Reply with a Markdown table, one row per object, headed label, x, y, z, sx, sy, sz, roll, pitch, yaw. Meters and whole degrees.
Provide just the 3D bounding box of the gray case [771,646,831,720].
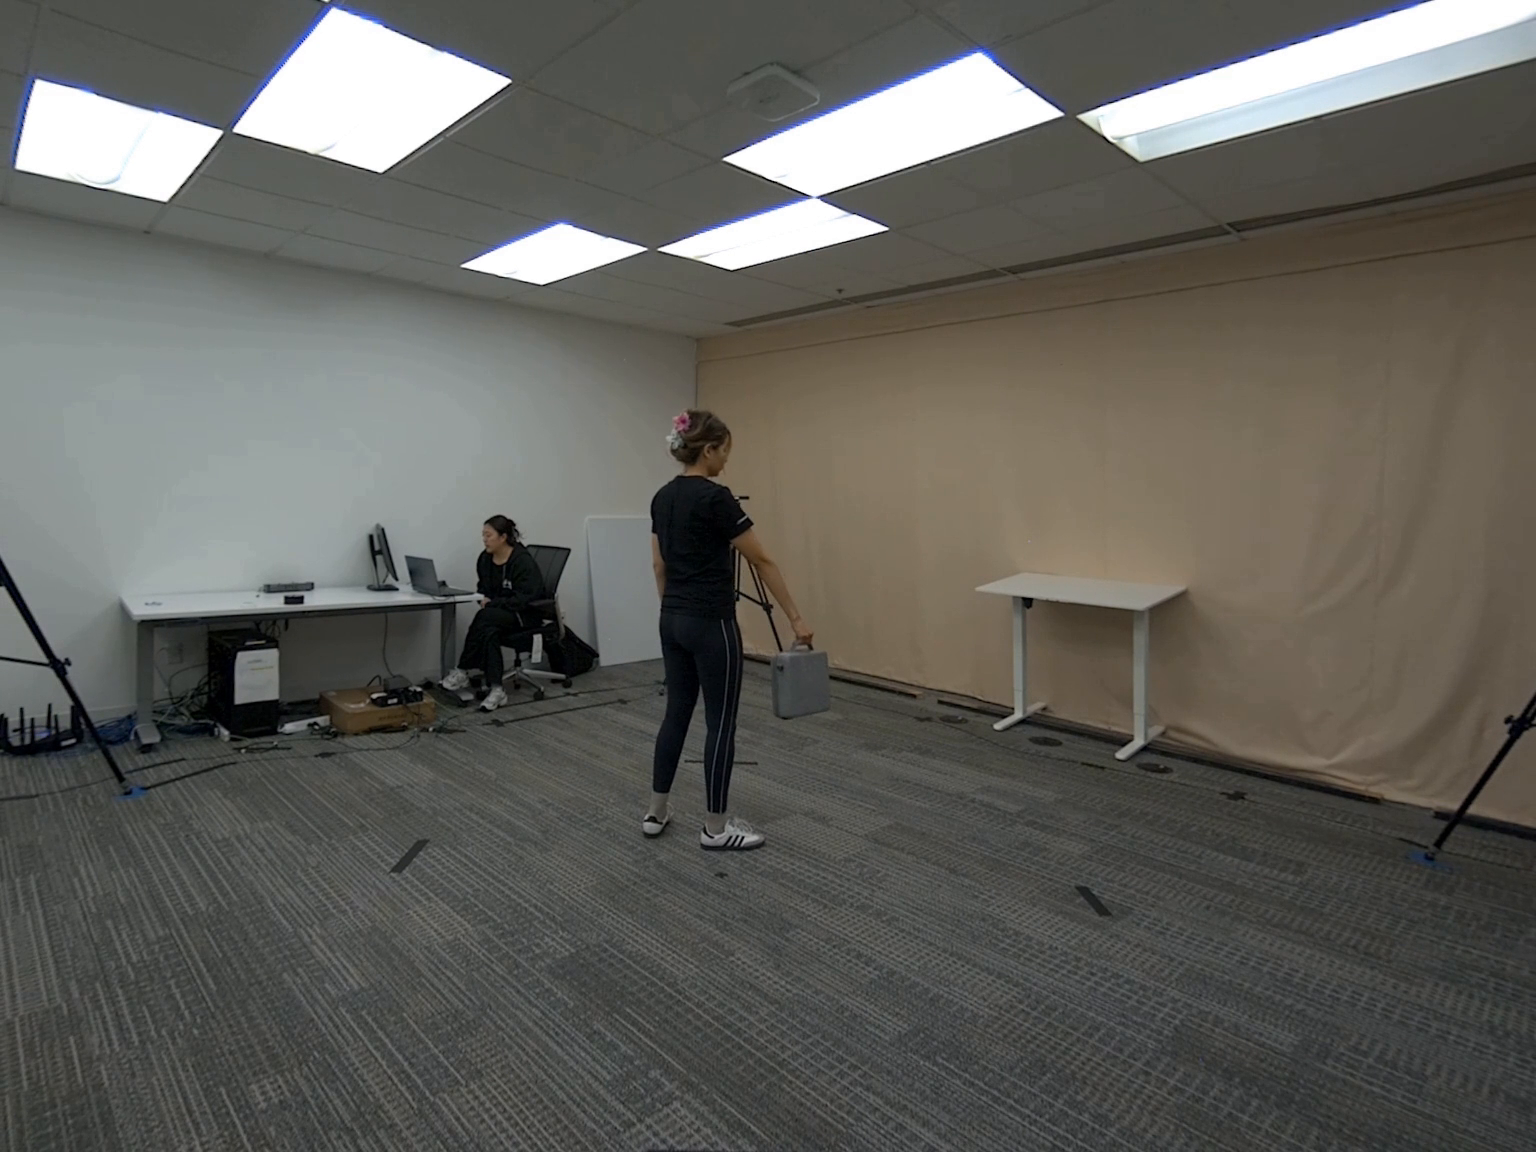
| label | x | y | z | sx | sy | sz | roll | pitch | yaw |
| --- | --- | --- | --- | --- | --- | --- | --- | --- | --- |
| gray case | 0.125 | 0.416 | 3.324 | 0.251 | 0.261 | 0.107 | -2 | -1 | -44 |
